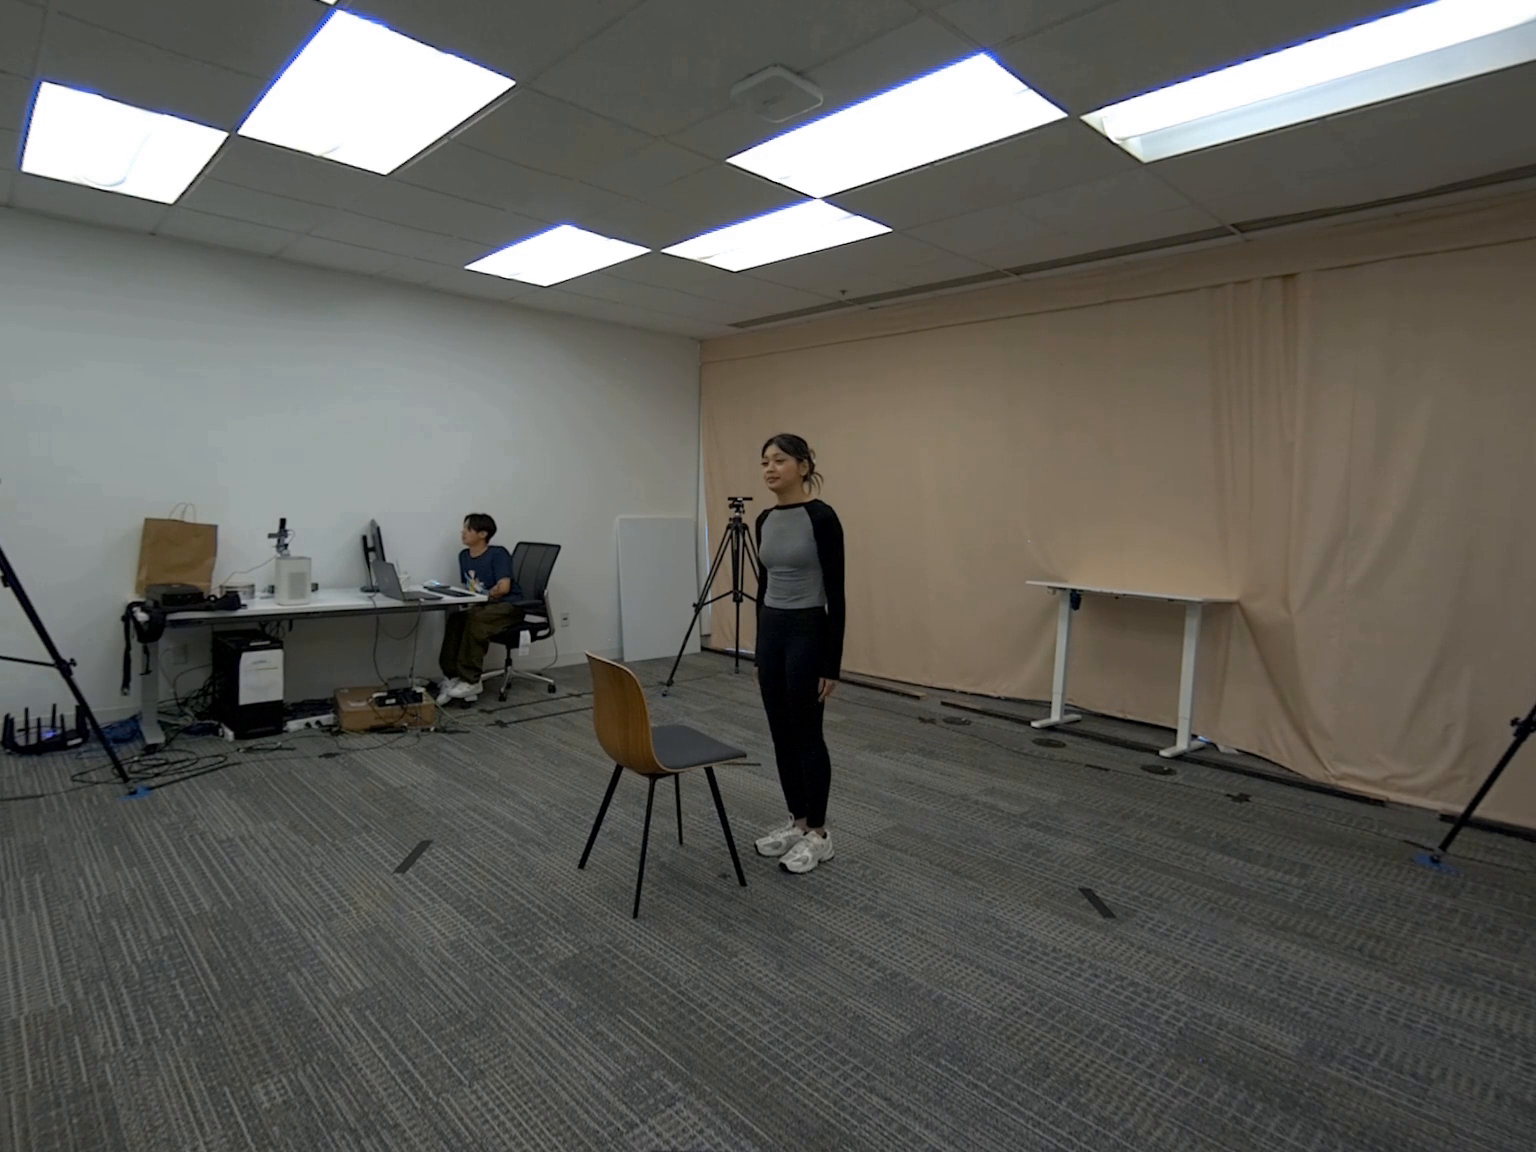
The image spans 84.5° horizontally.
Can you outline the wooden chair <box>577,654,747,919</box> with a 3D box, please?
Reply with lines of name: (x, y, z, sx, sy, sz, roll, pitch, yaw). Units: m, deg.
wooden chair: (-0.383, 0.680, 3.057, 0.512, 0.874, 0.490, -6, 7, -35)
